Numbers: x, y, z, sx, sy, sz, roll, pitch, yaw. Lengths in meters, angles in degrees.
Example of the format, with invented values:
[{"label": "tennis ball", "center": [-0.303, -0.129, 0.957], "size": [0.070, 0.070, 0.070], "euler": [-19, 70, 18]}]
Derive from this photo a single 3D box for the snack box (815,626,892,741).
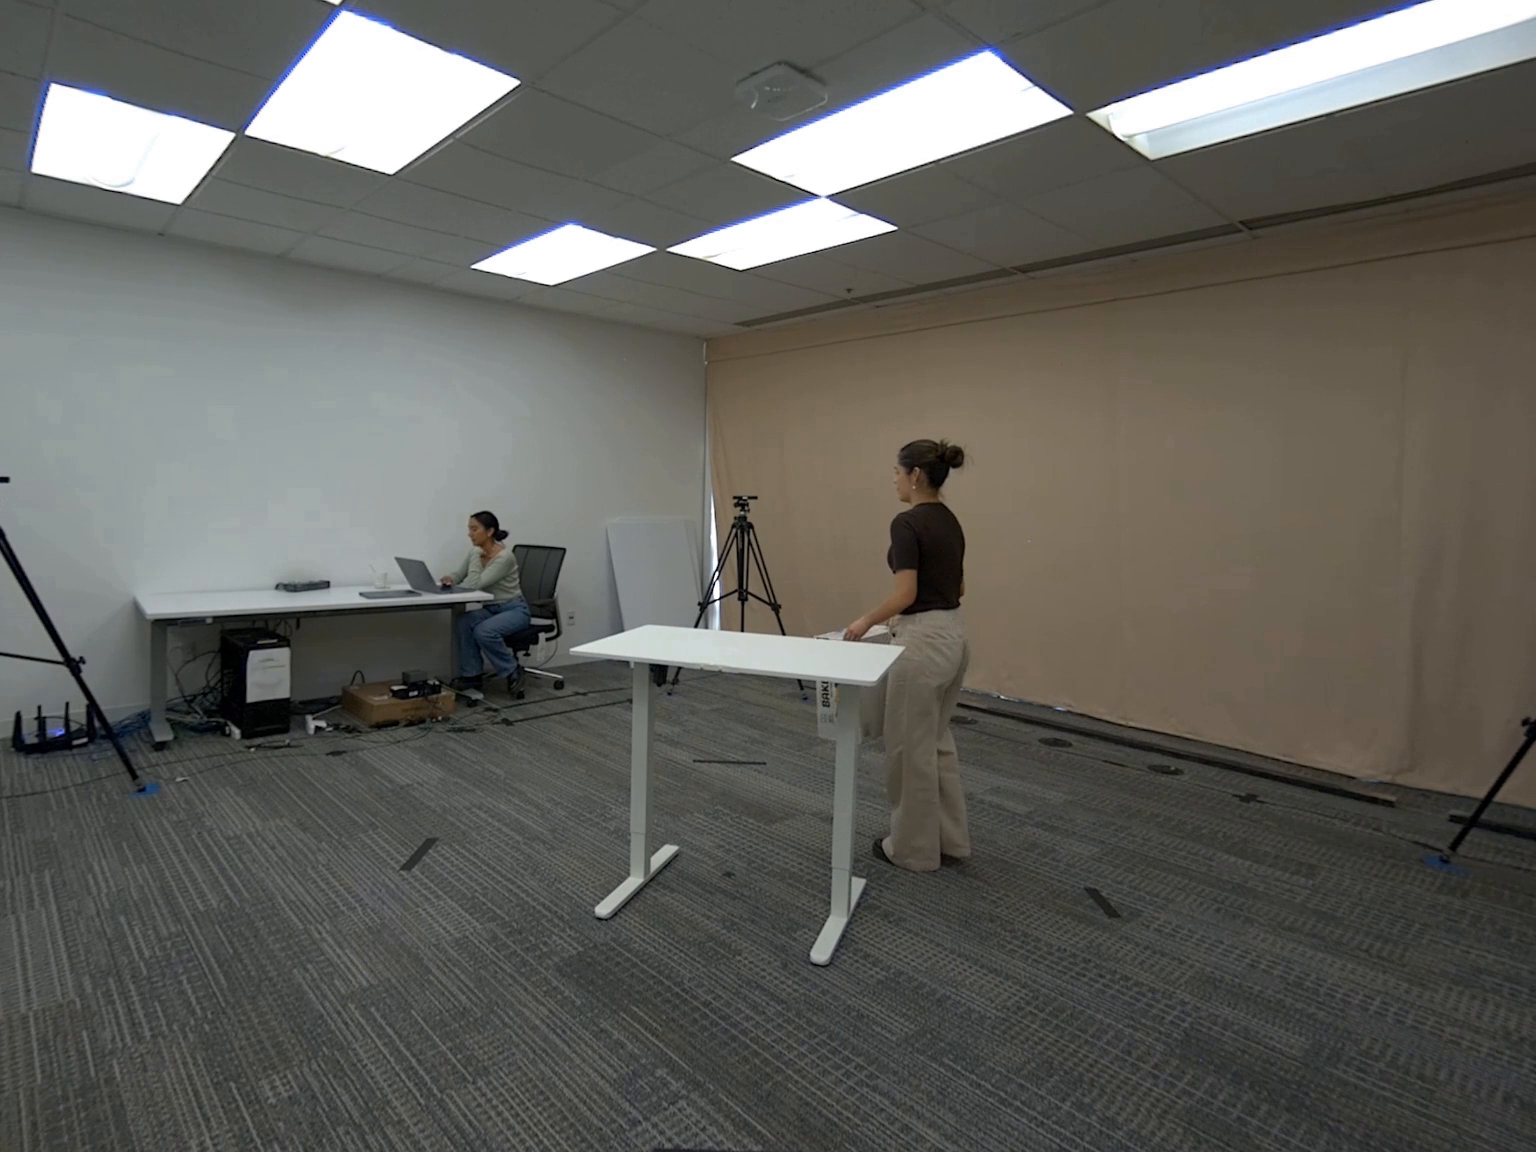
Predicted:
[{"label": "snack box", "center": [0.375, 0.433, 3.406], "size": [0.210, 0.404, 0.333], "euler": [-1, 4, 40]}]
